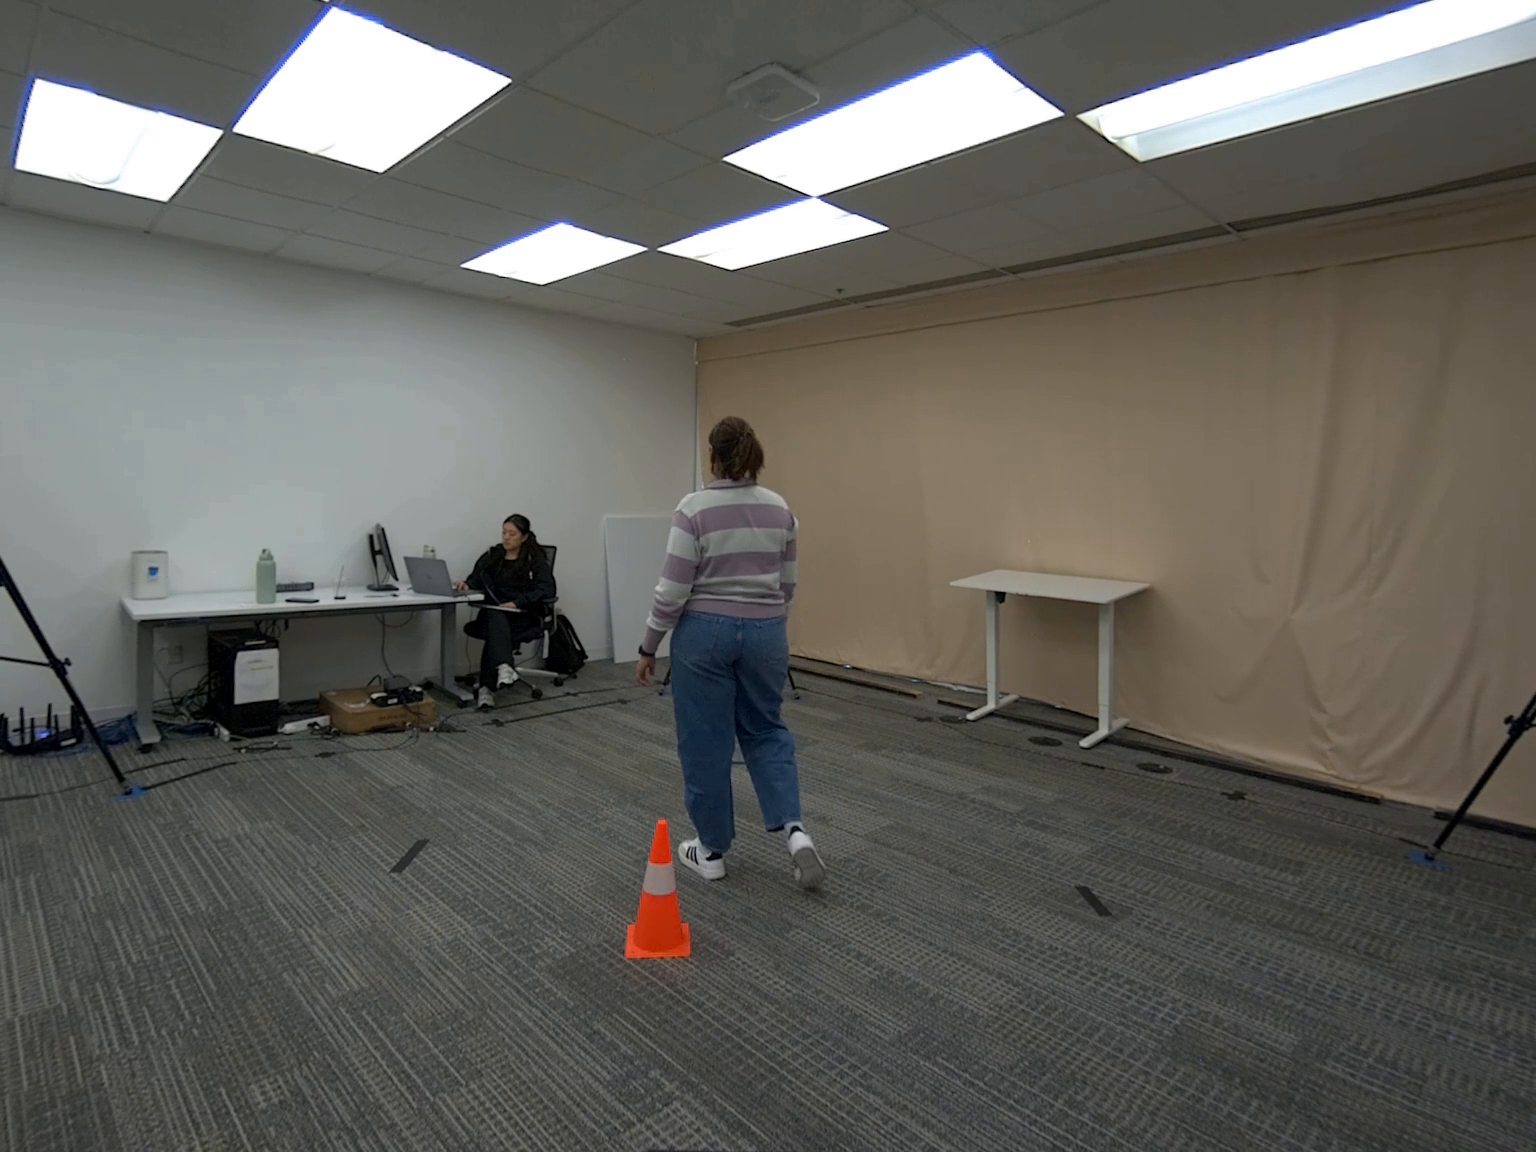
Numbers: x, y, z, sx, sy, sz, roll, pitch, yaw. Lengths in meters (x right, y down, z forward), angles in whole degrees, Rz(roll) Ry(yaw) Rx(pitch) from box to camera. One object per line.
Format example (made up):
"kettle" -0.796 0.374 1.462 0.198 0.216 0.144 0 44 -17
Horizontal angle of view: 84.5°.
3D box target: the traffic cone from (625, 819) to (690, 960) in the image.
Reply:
"traffic cone" -0.357 0.965 2.617 0.205 0.382 0.204 1 7 1
